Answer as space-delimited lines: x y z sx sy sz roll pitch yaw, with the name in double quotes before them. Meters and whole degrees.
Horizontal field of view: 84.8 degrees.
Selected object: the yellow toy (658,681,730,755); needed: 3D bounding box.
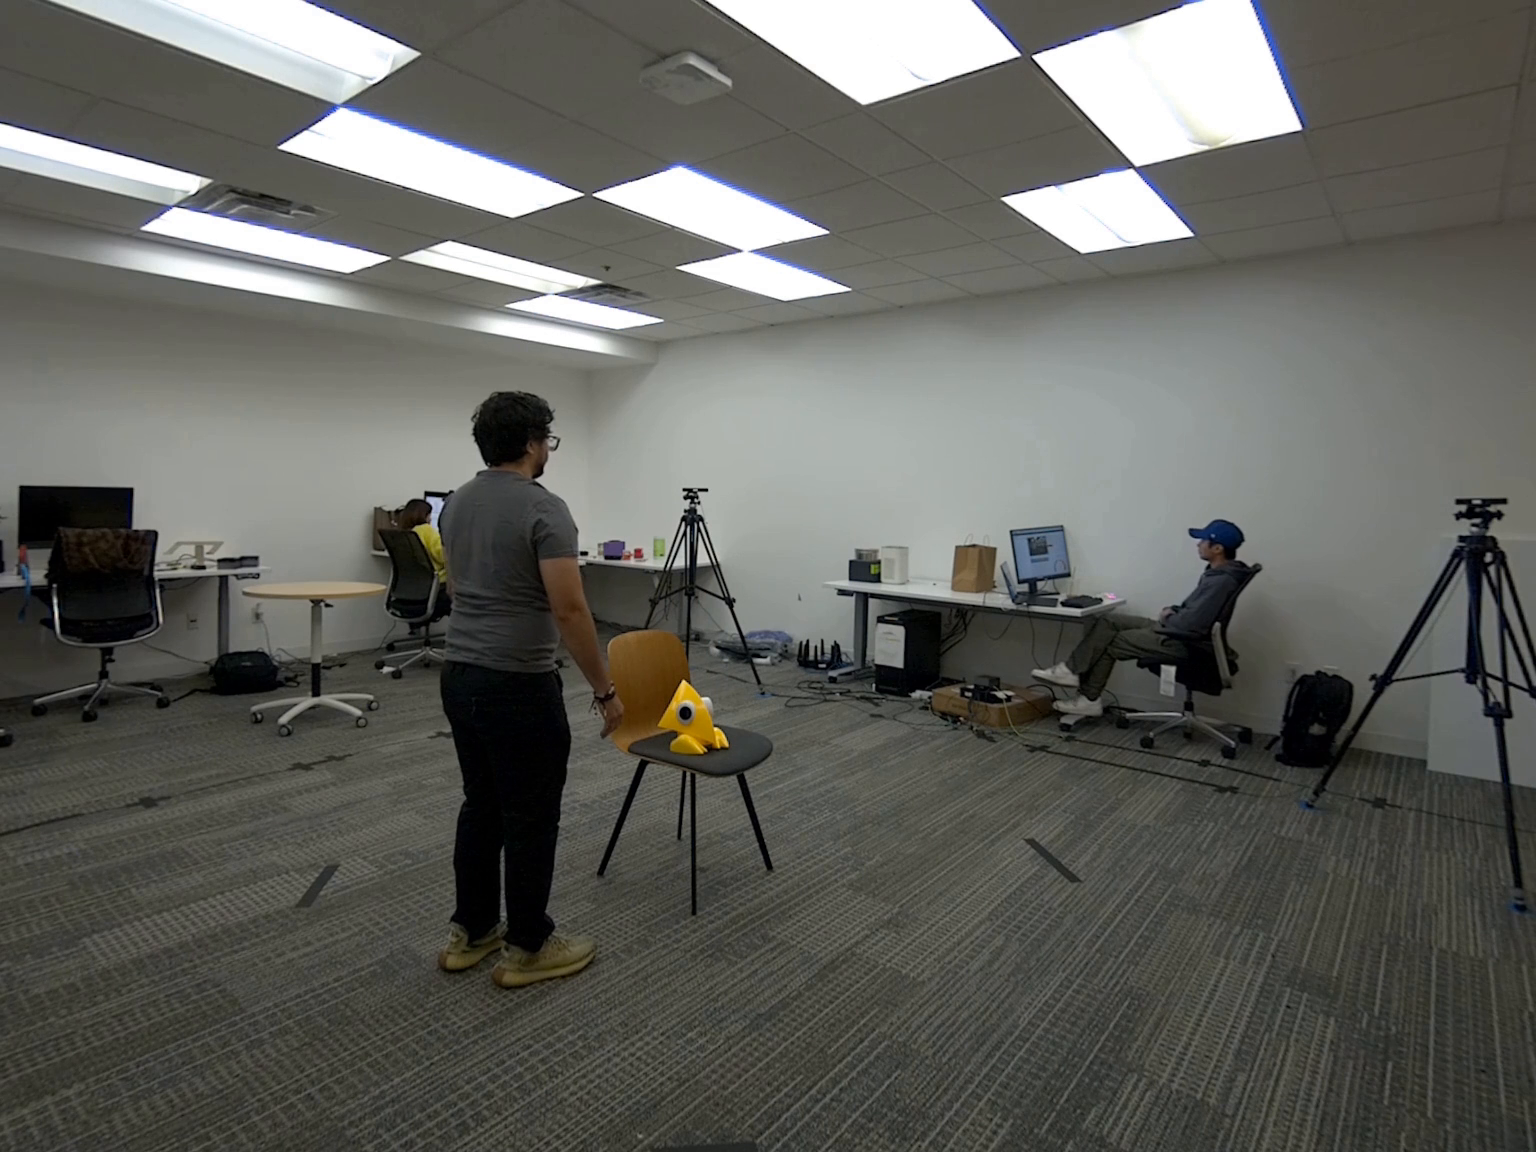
"yellow toy" -0.263 0.487 2.999 0.199 0.231 0.198 -1 -1 42
